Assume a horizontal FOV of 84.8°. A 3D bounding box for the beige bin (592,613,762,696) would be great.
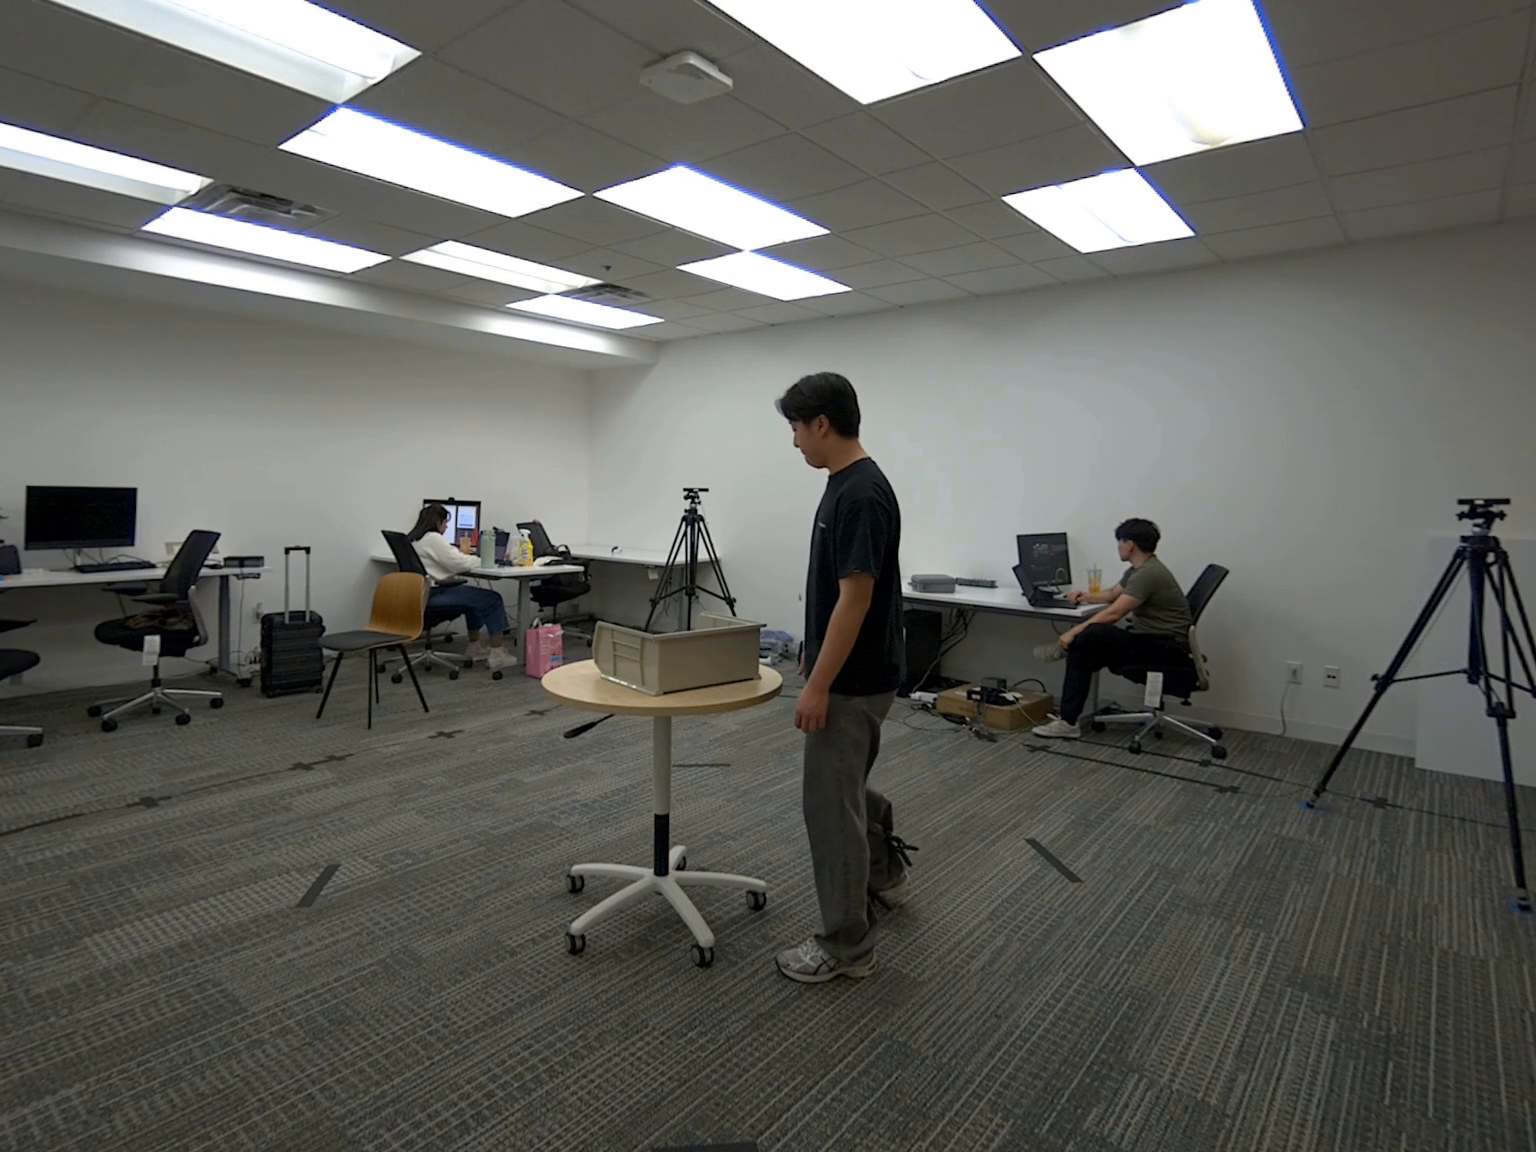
[{"bbox_3d":[-0.298,0.234,2.719,0.410,0.188,0.390,-3,7,-38],"label":"beige bin"}]
